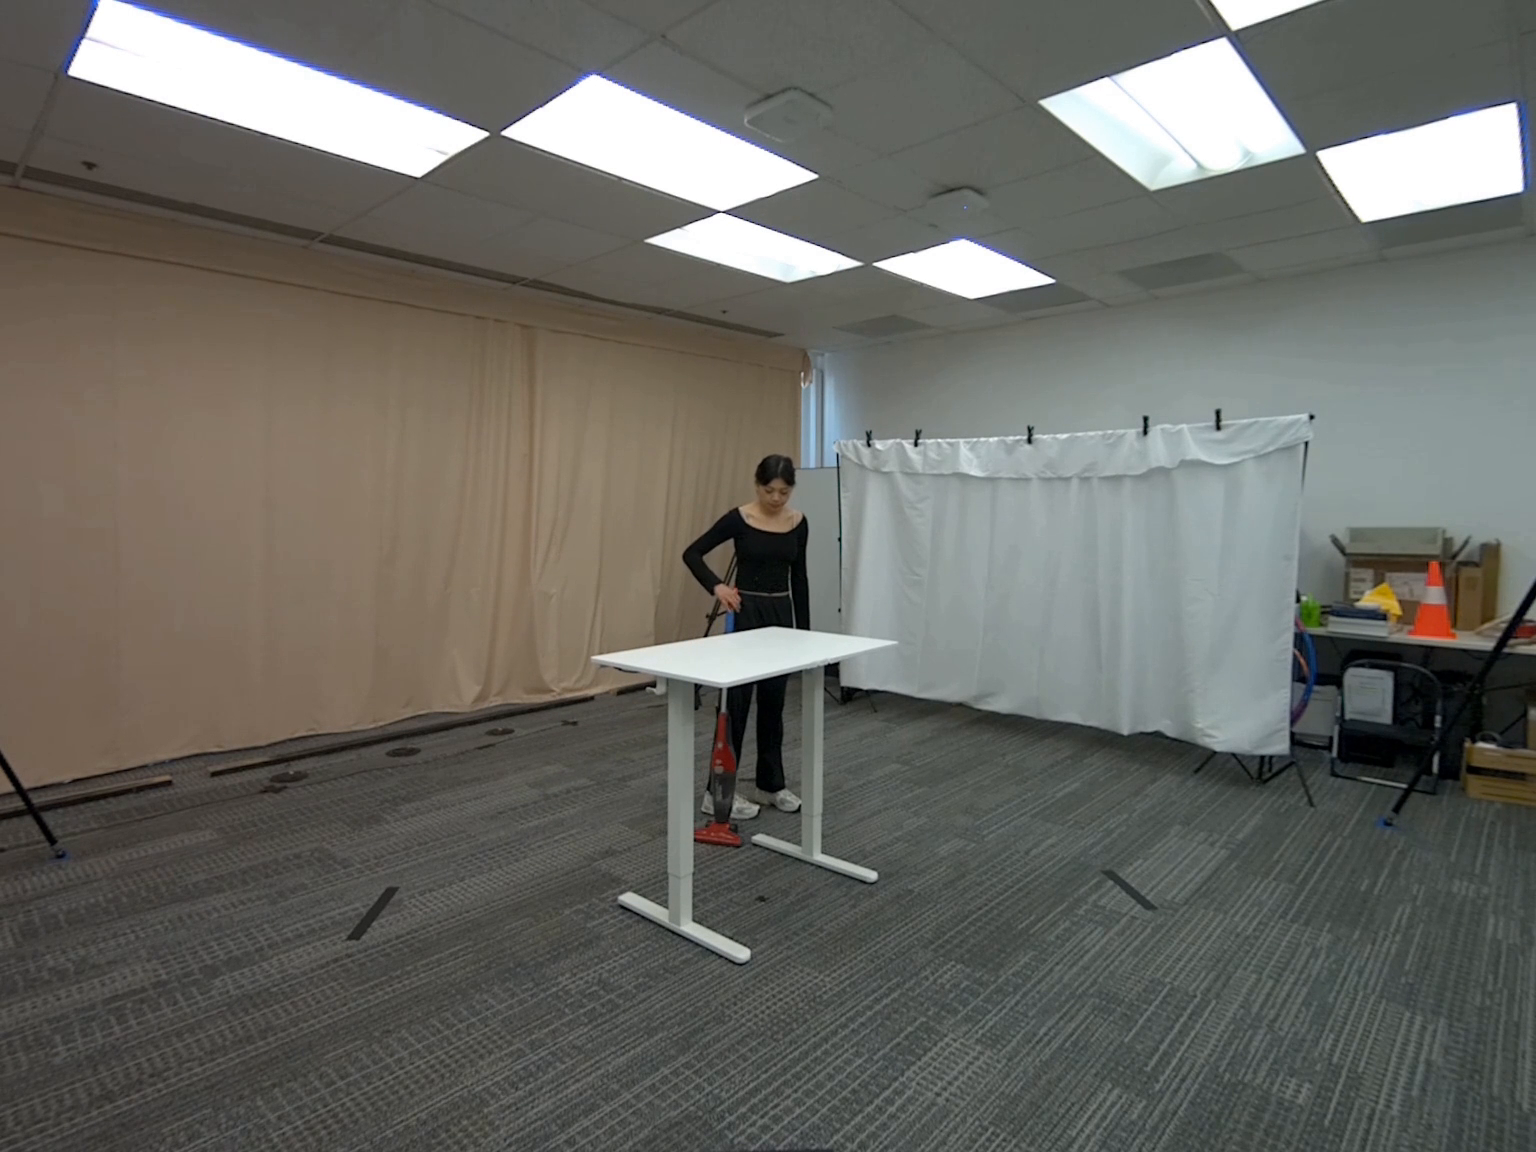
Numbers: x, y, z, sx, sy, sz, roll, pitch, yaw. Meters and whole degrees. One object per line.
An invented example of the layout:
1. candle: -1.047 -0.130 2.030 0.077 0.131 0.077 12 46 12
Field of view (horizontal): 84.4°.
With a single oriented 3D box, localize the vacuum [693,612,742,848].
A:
1. vacuum: -0.172 0.581 3.630 0.259 1.056 0.139 -2 -13 27
